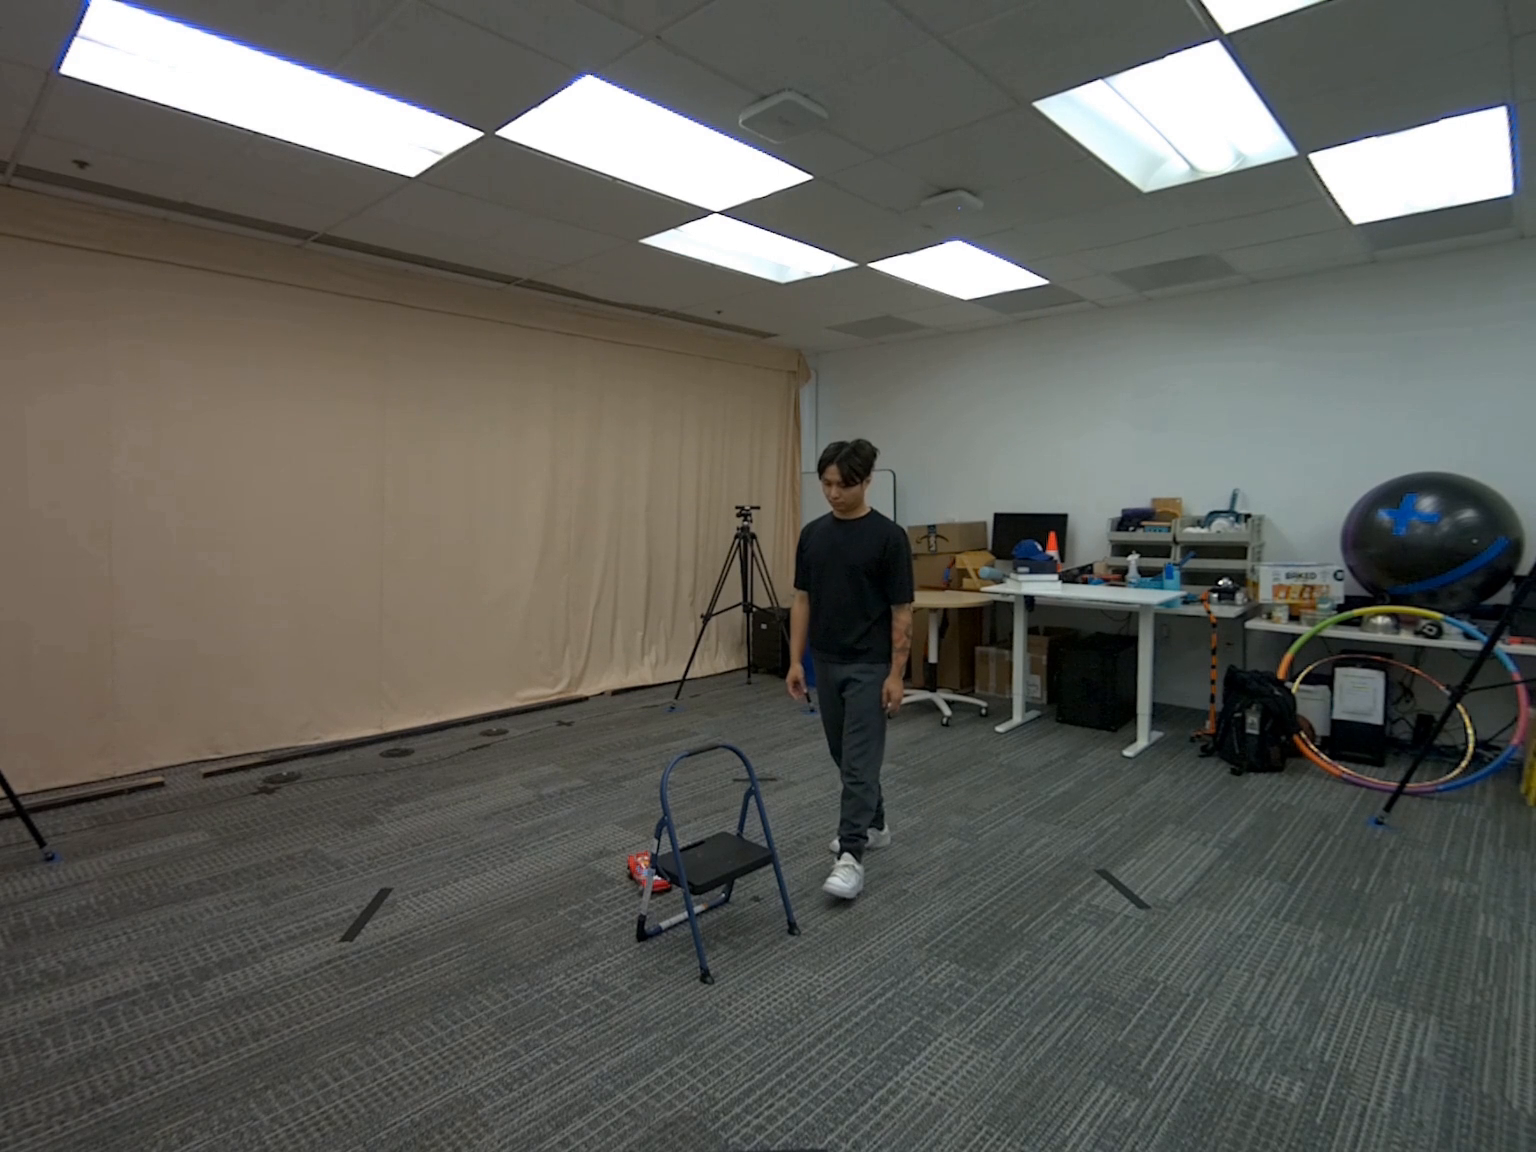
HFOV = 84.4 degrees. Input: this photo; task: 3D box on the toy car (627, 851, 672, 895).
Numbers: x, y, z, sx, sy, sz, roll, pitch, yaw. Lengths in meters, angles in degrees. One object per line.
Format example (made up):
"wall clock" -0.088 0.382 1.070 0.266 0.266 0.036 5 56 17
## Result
"toy car" -0.445 1.105 3.131 0.127 0.082 0.262 -4 17 -24
